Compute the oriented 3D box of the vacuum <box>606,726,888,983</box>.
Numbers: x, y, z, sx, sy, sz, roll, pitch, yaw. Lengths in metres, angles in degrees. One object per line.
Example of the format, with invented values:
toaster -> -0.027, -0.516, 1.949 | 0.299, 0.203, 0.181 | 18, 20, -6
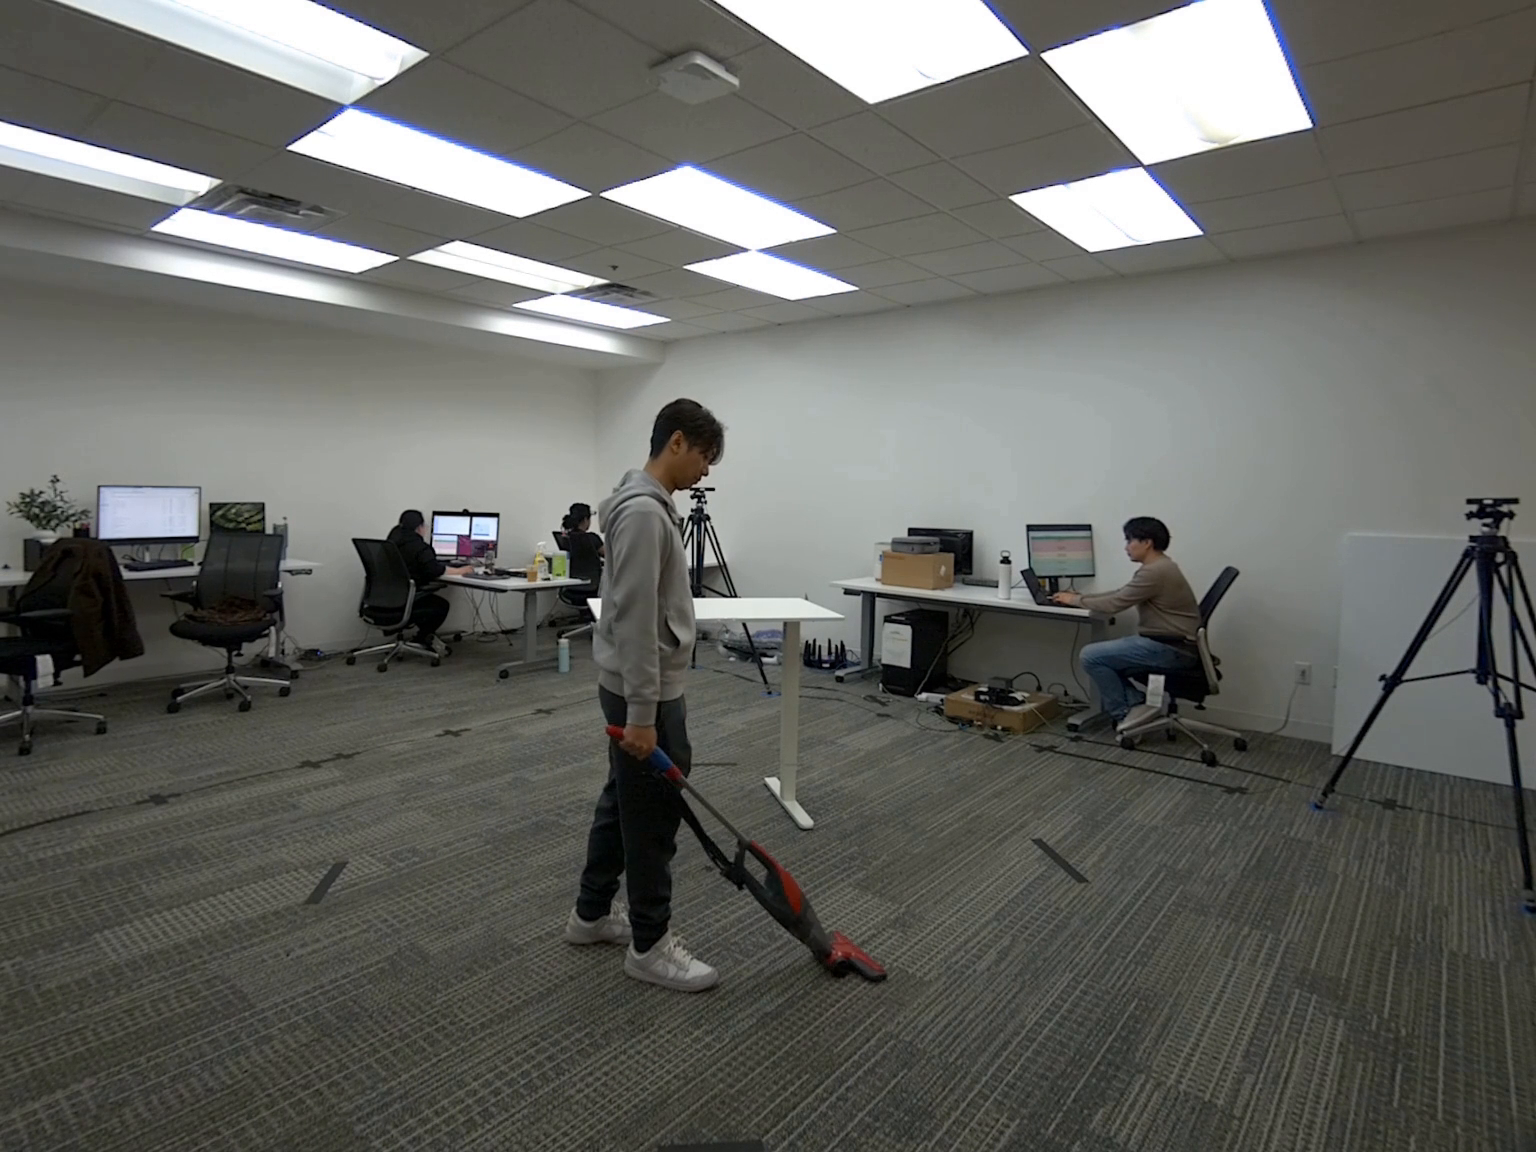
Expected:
vacuum -> -0.084, 0.770, 2.326 | 0.144, 1.019, 0.260 | -46, 23, -14
